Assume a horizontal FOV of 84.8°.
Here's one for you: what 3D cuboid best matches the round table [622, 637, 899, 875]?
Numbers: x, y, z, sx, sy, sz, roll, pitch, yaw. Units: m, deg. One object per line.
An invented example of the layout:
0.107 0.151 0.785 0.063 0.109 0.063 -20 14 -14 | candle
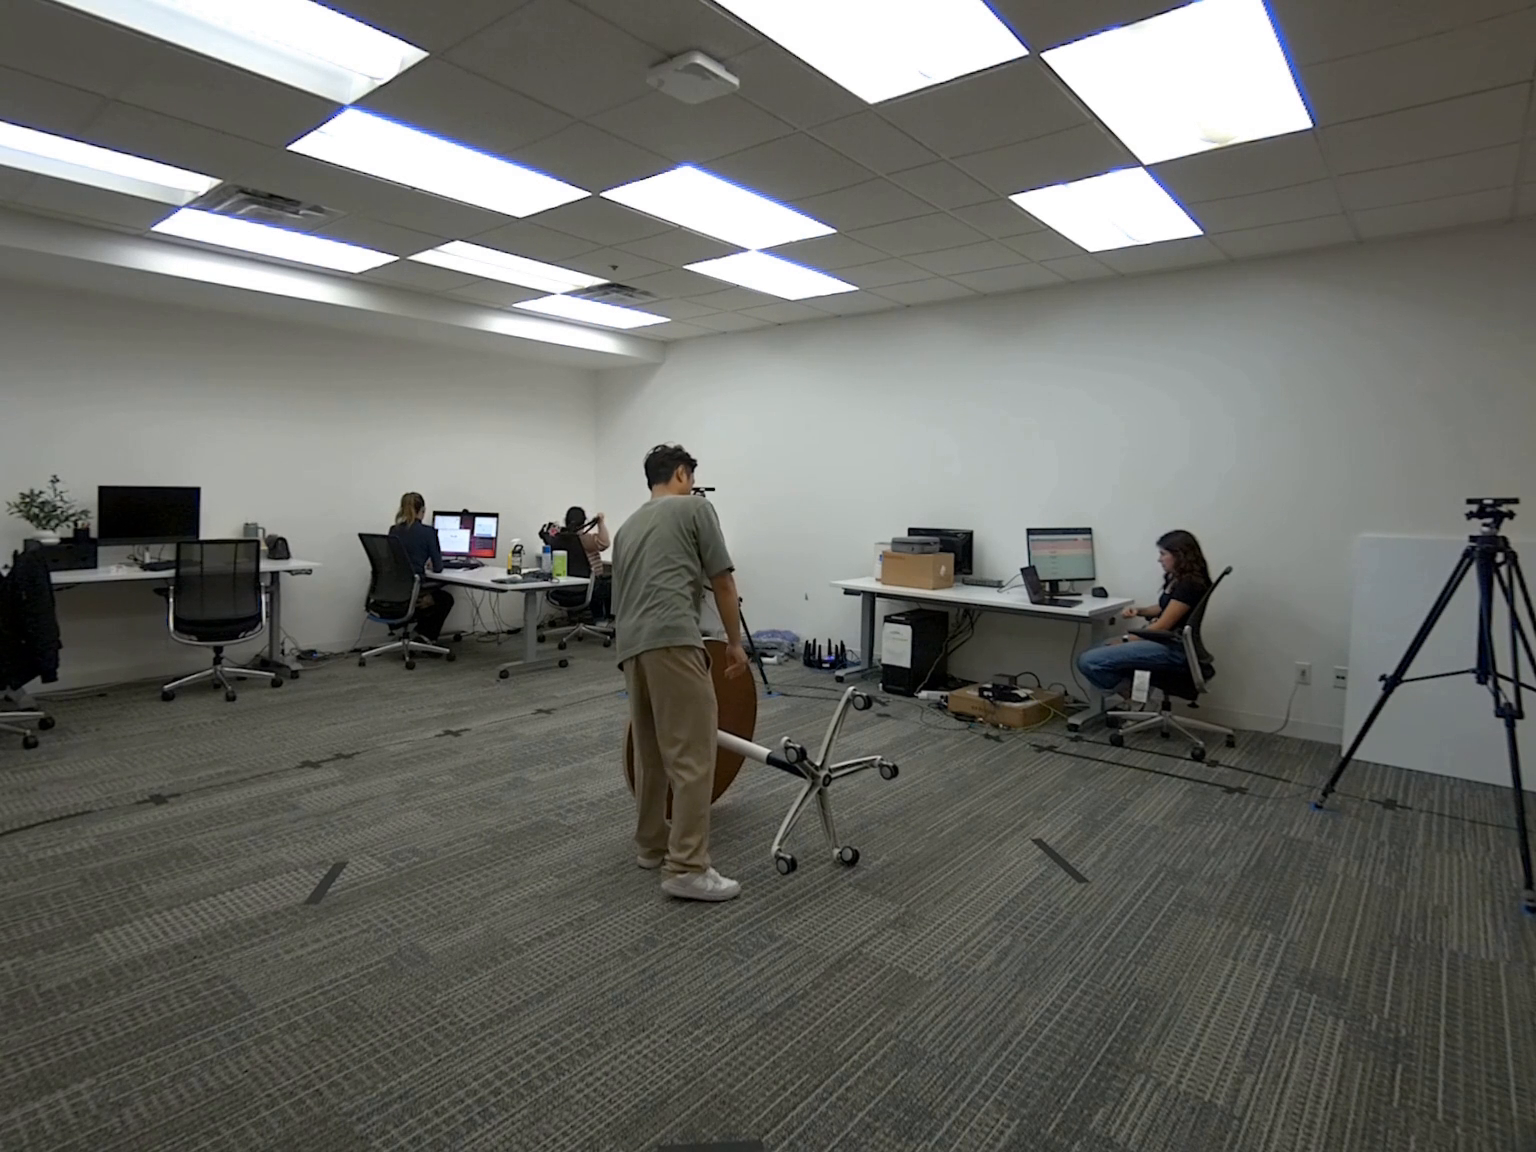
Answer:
-0.022 0.697 3.316 0.816 0.780 0.761 11 10 41 | round table
